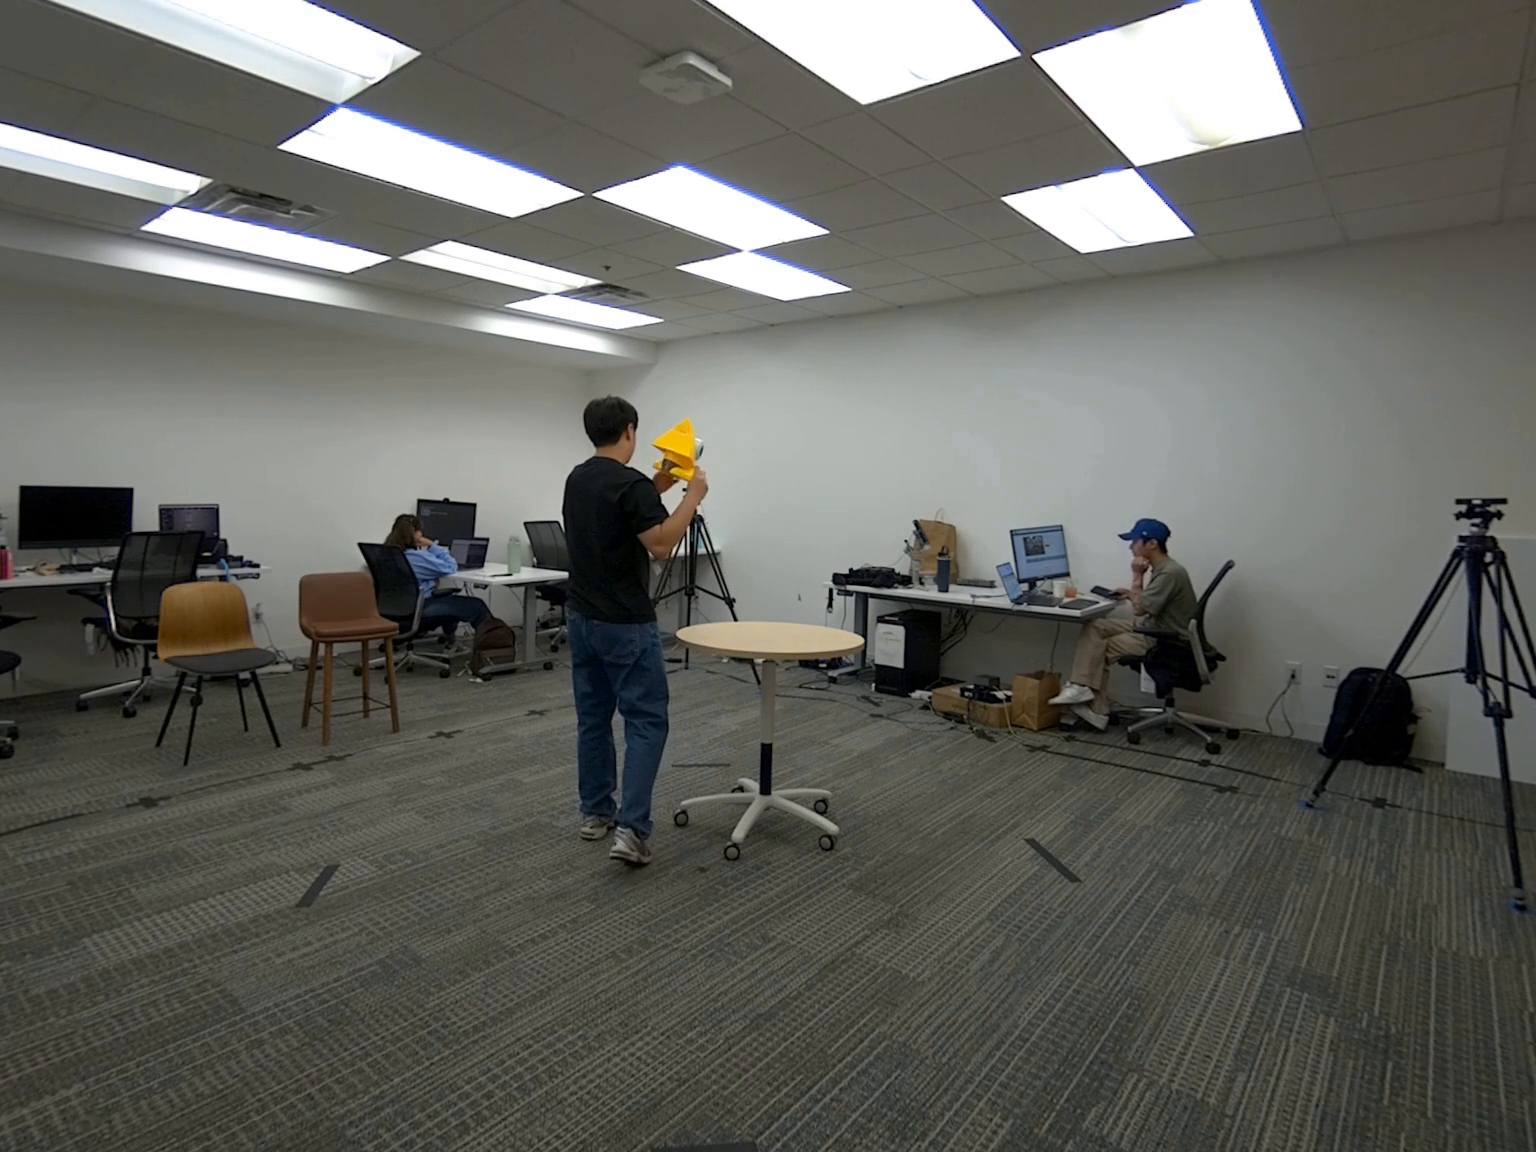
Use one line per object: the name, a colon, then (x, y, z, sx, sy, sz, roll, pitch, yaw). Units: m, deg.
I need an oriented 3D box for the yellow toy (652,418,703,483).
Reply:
yellow toy: (-0.332, -0.497, 3.352, 0.212, 0.231, 0.186, 22, -1, 32)
